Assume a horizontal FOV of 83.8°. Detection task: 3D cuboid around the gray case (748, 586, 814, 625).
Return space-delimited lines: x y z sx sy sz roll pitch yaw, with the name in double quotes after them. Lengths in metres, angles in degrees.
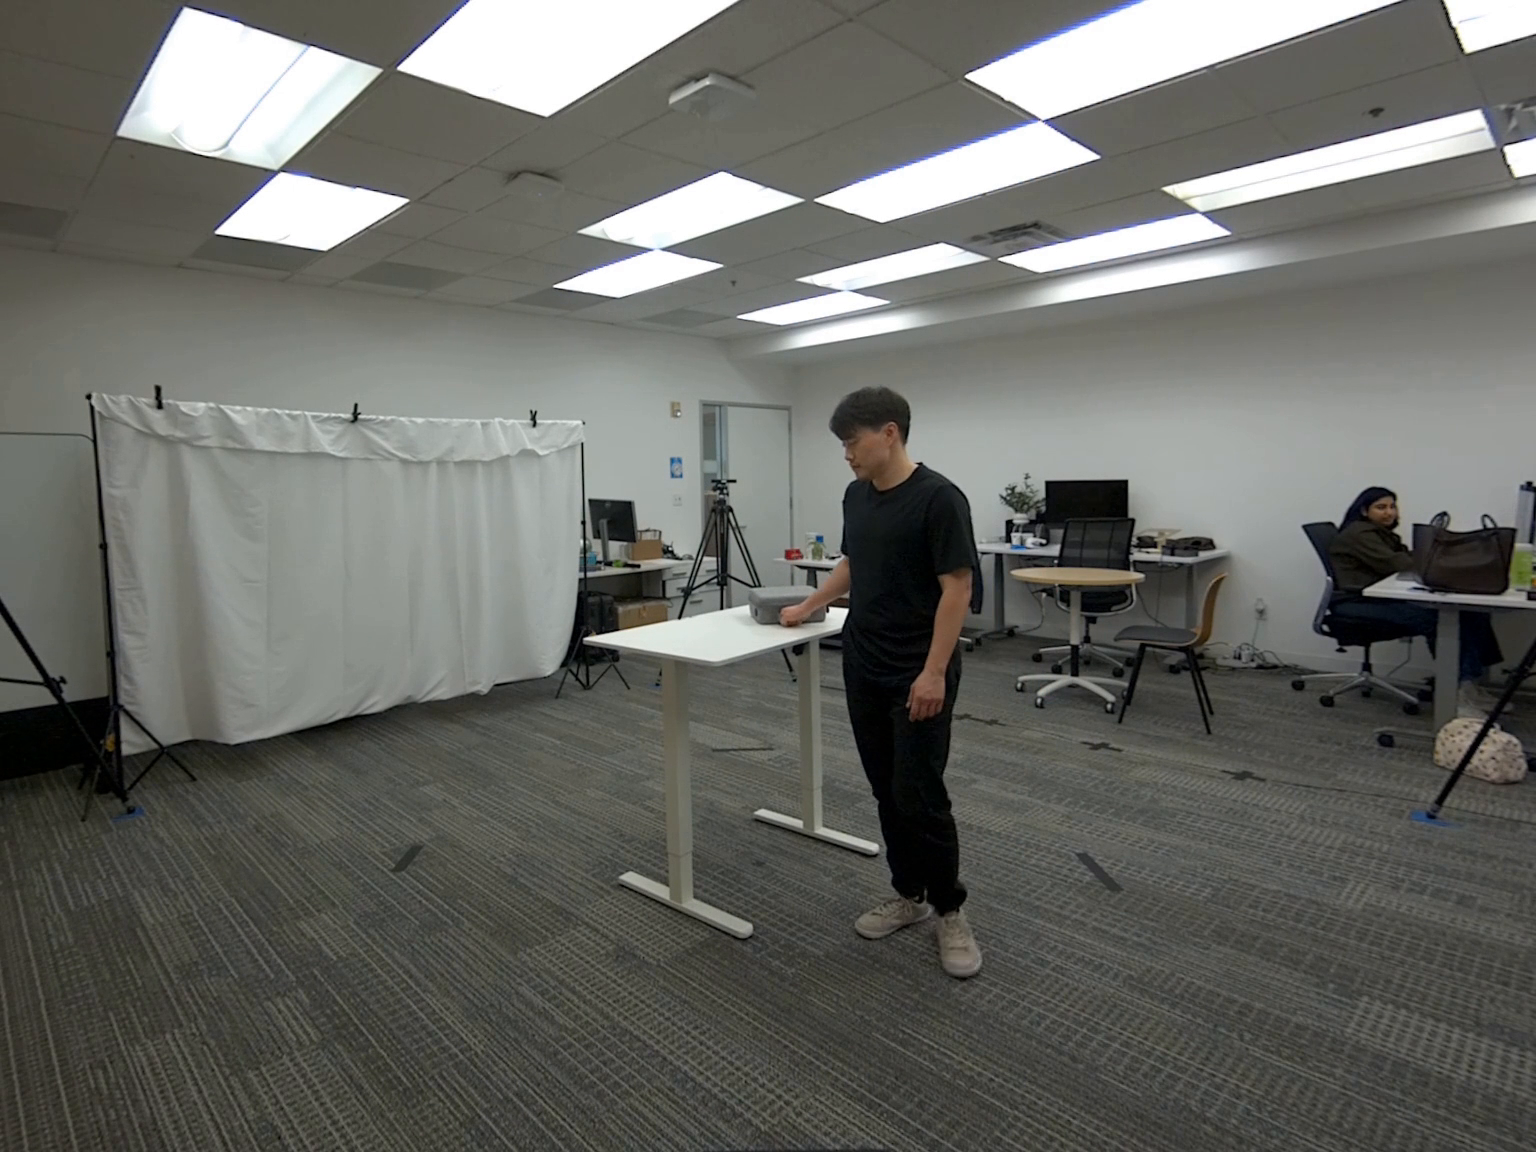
0.072 0.103 3.146 0.255 0.104 0.264 -1 7 -8 "gray case"
